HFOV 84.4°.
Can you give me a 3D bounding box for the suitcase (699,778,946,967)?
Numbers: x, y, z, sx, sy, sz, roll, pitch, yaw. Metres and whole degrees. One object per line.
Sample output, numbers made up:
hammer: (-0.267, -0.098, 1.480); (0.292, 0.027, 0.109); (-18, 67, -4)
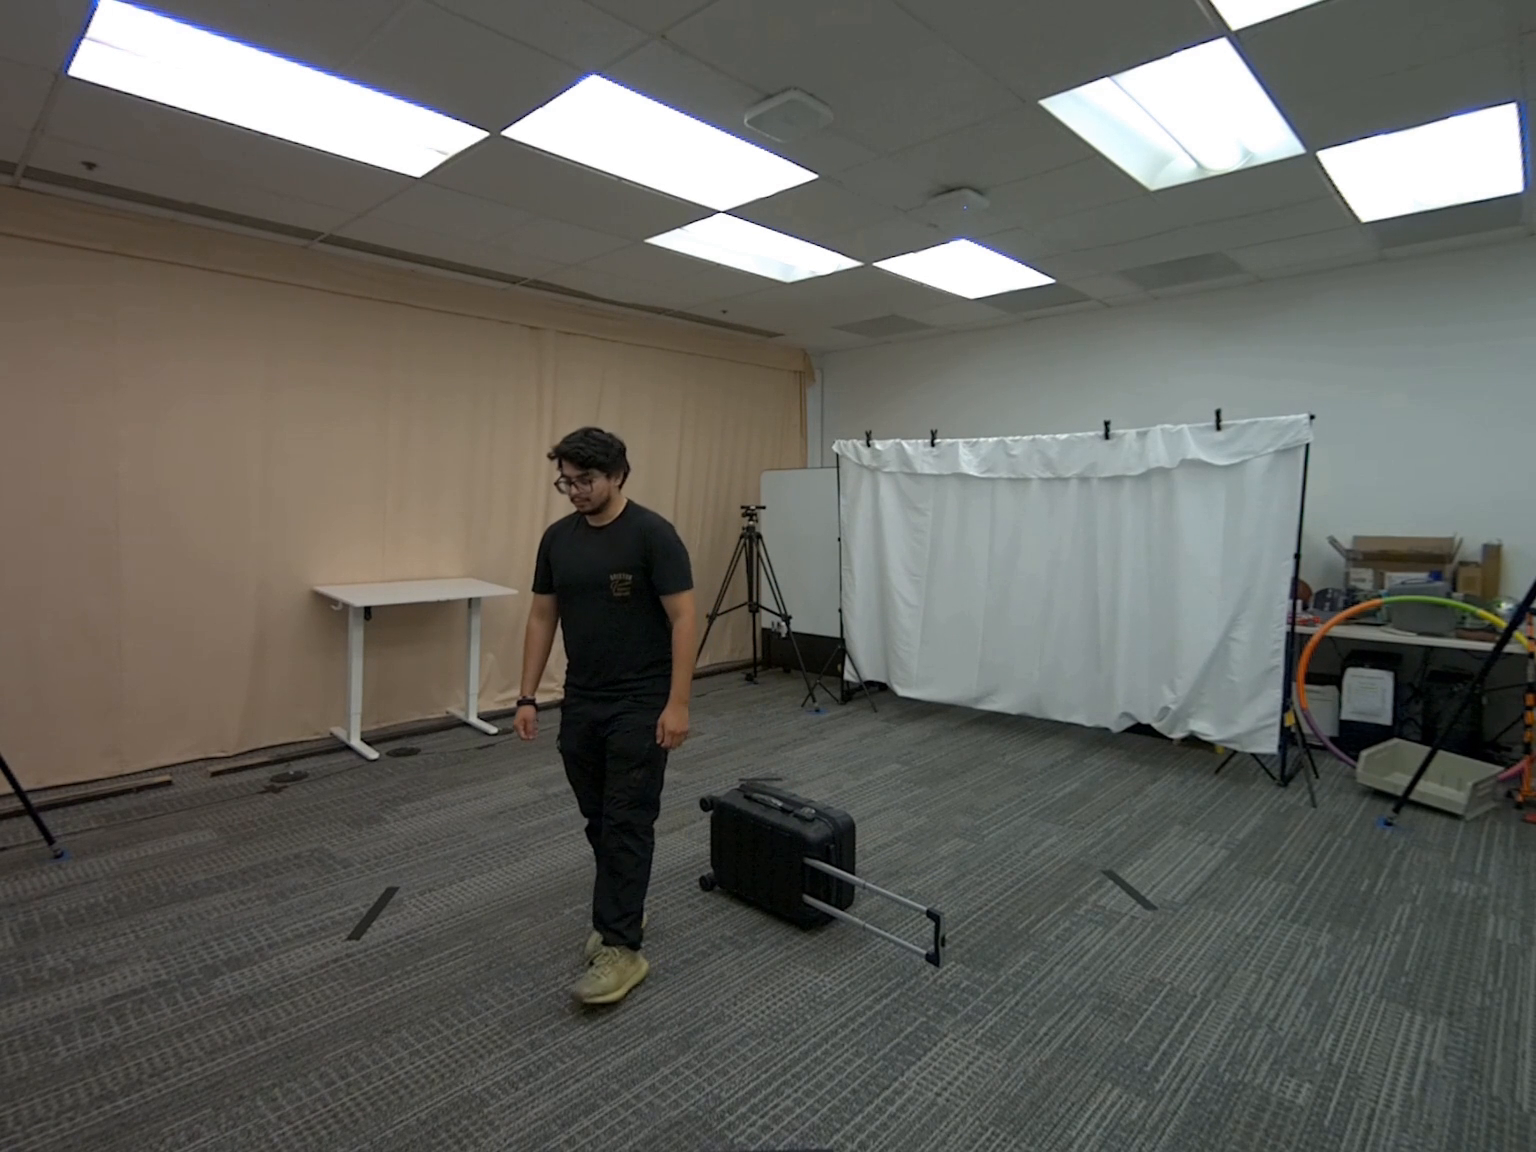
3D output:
suitcase: (0.198, 0.972, 2.801); (1.012, 0.383, 0.249); (5, 6, 42)
